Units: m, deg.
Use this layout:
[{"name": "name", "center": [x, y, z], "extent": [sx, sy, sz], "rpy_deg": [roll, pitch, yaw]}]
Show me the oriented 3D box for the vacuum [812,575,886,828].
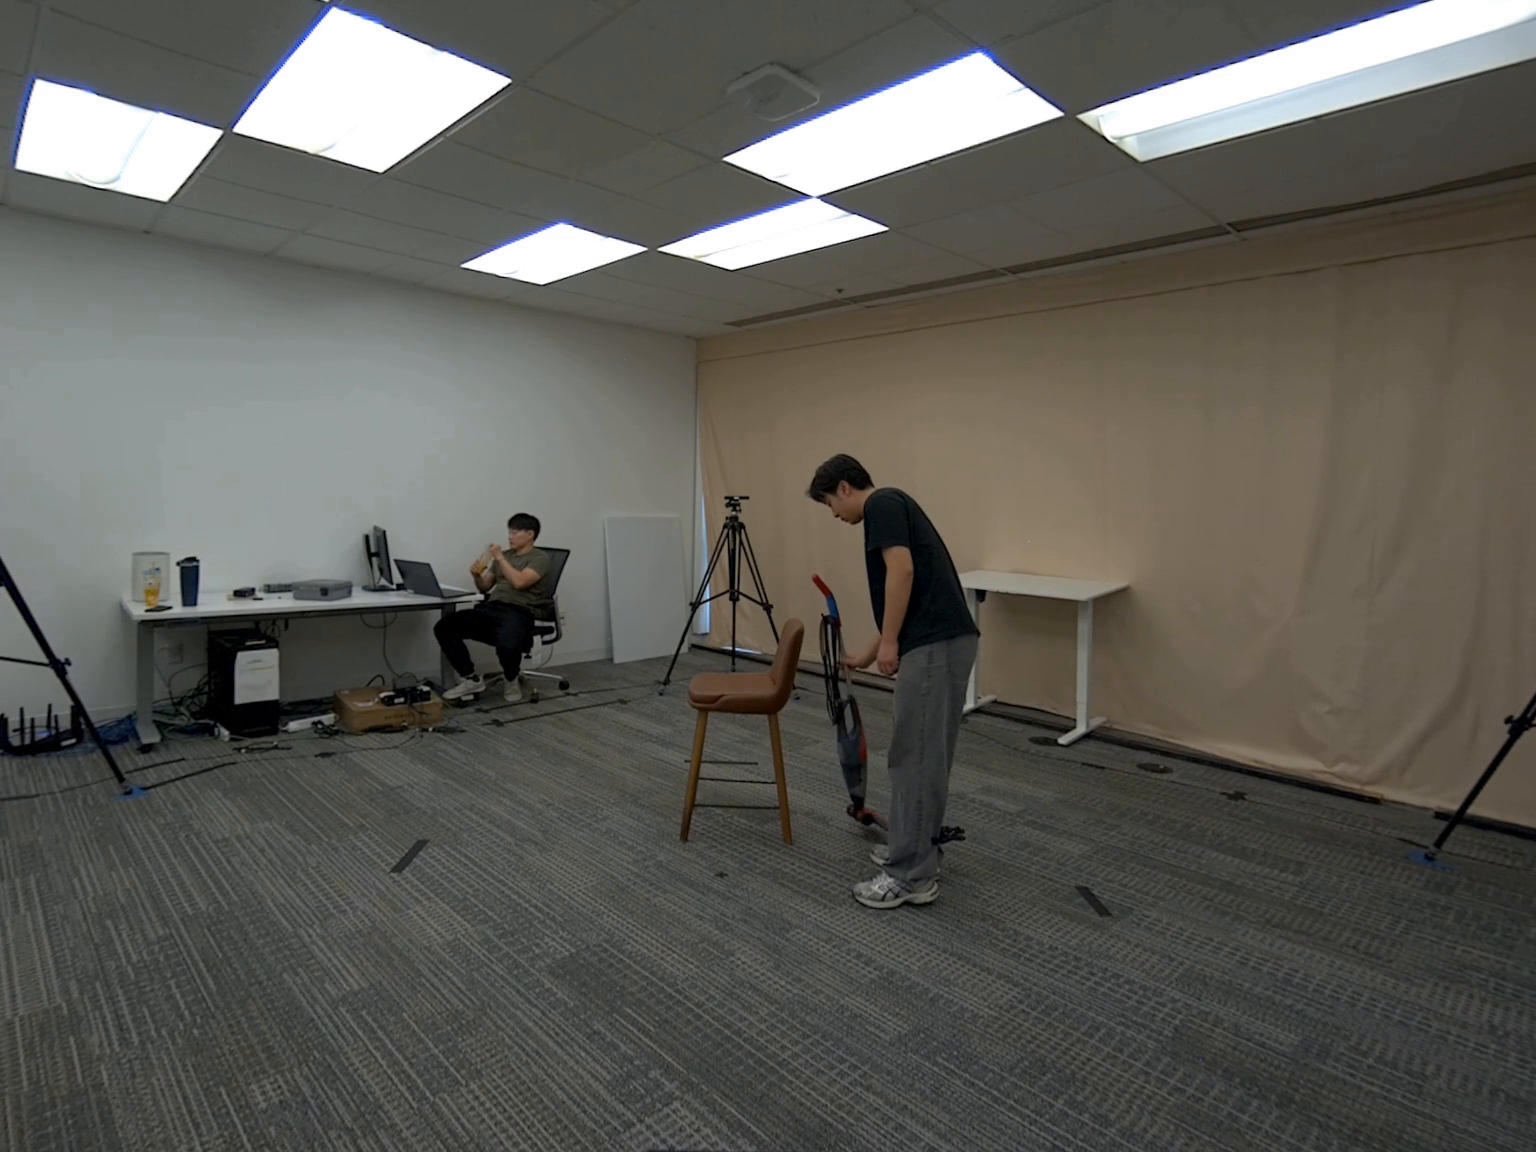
[{"name": "vacuum", "center": [0.306, 0.517, 3.455], "extent": [0.142, 1.043, 0.257], "rpy_deg": [-14, 7, -27]}]
